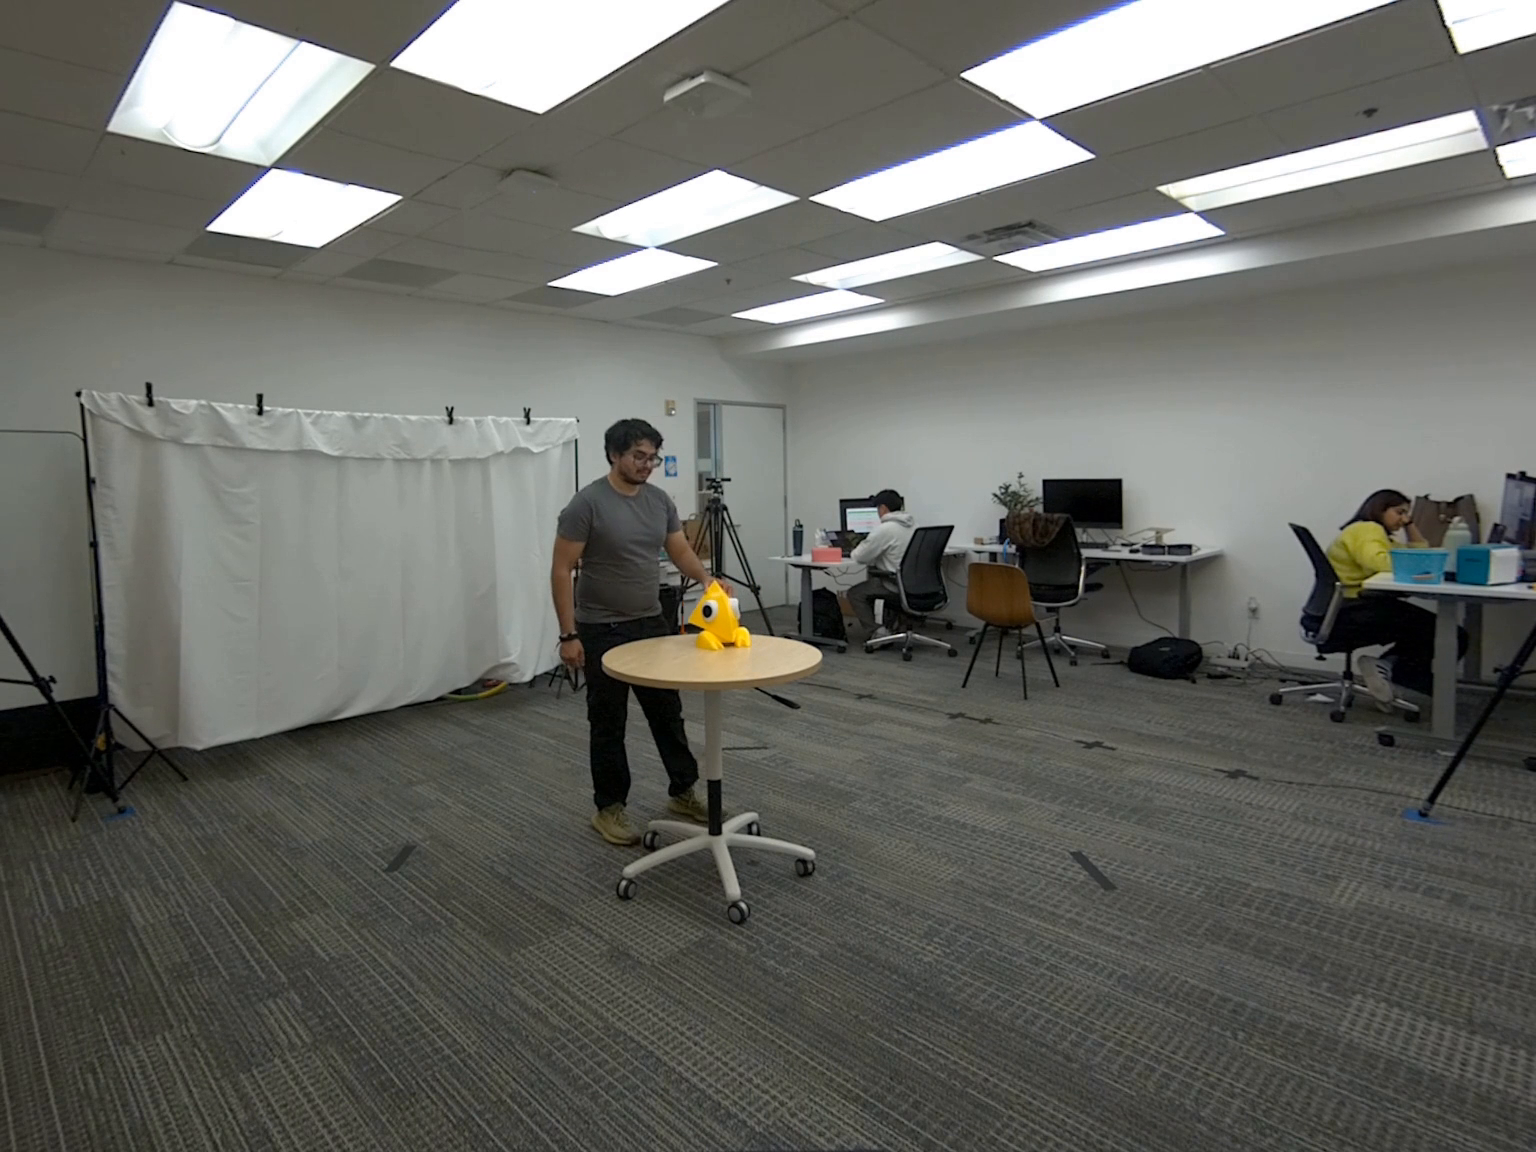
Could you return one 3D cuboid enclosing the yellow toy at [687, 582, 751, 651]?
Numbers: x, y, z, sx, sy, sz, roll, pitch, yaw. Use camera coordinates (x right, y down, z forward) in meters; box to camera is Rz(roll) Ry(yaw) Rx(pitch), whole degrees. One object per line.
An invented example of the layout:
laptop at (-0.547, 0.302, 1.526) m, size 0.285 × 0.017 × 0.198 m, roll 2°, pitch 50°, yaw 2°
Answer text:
yellow toy at (-0.161, 0.140, 3.160) m, size 0.200 × 0.230 × 0.198 m, roll -2°, pitch 5°, yaw -25°
